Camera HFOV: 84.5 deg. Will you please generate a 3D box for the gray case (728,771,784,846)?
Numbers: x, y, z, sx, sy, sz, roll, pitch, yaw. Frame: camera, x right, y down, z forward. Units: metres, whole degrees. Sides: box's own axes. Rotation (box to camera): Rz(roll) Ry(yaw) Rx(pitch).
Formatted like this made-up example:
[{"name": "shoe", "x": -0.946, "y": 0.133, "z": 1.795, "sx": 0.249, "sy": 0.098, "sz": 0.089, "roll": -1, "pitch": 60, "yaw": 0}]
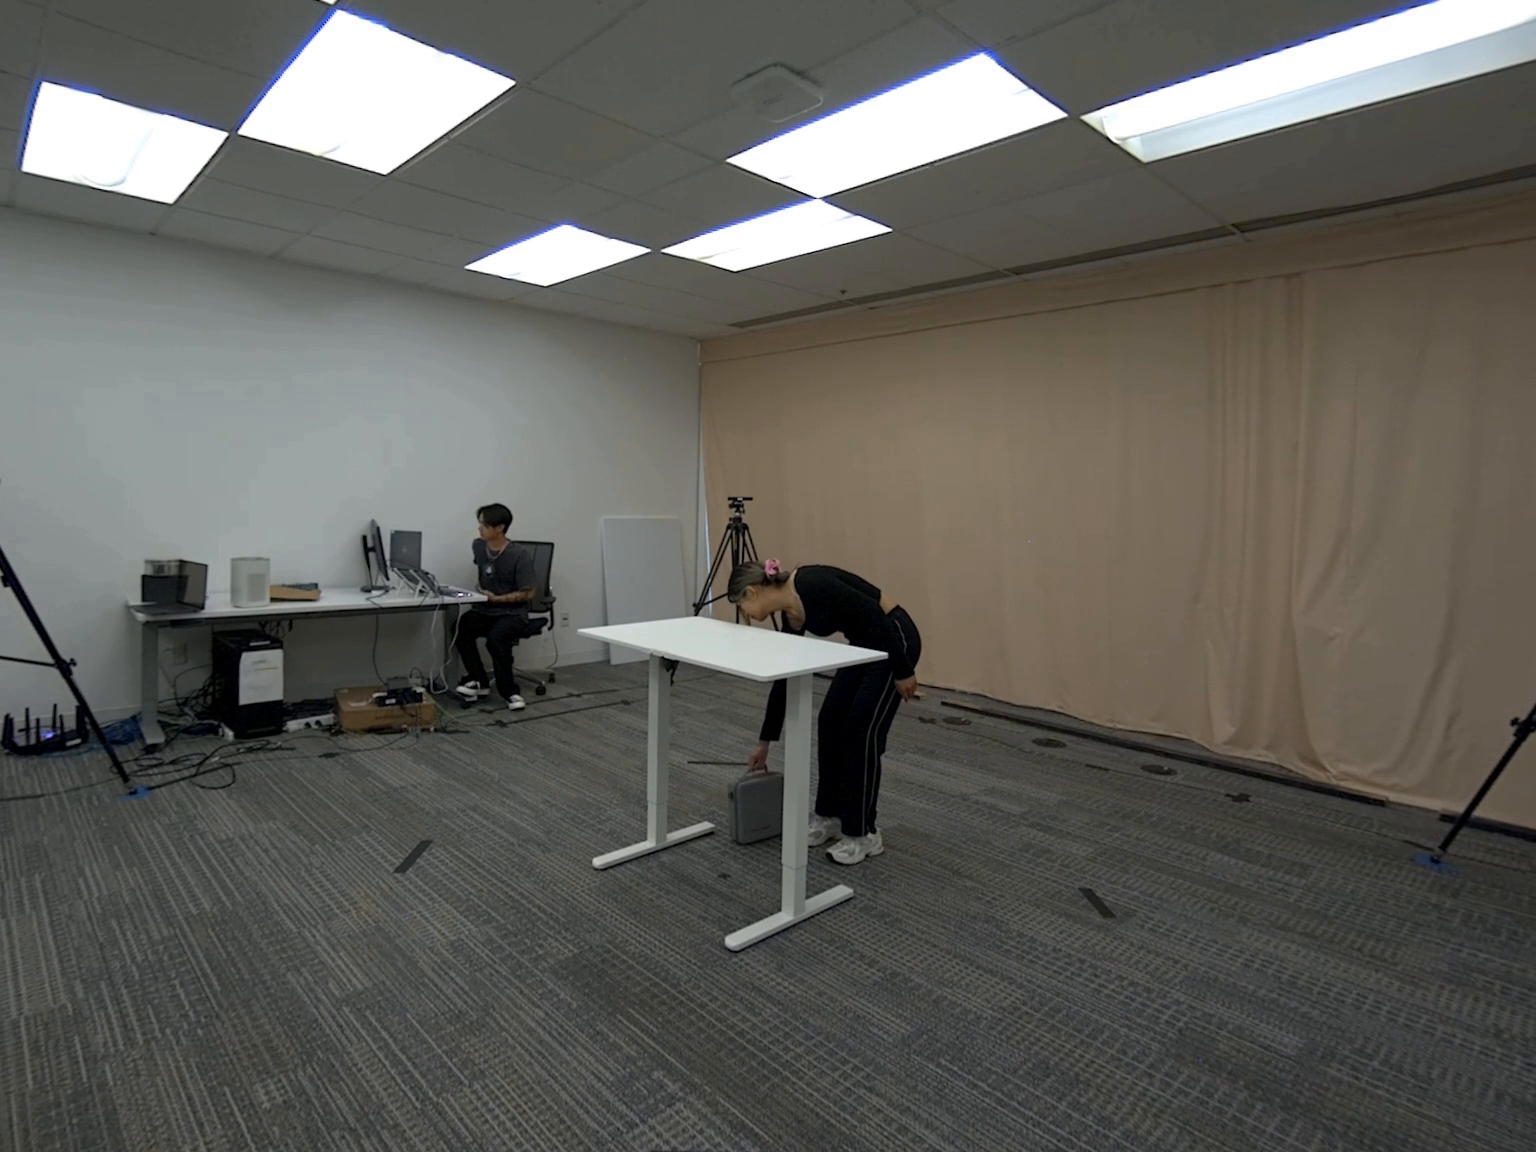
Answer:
[{"name": "gray case", "x": -0.041, "y": 0.934, "z": 3.464, "sx": 0.252, "sy": 0.260, "sz": 0.106, "roll": -3, "pitch": 1, "yaw": -31}]
